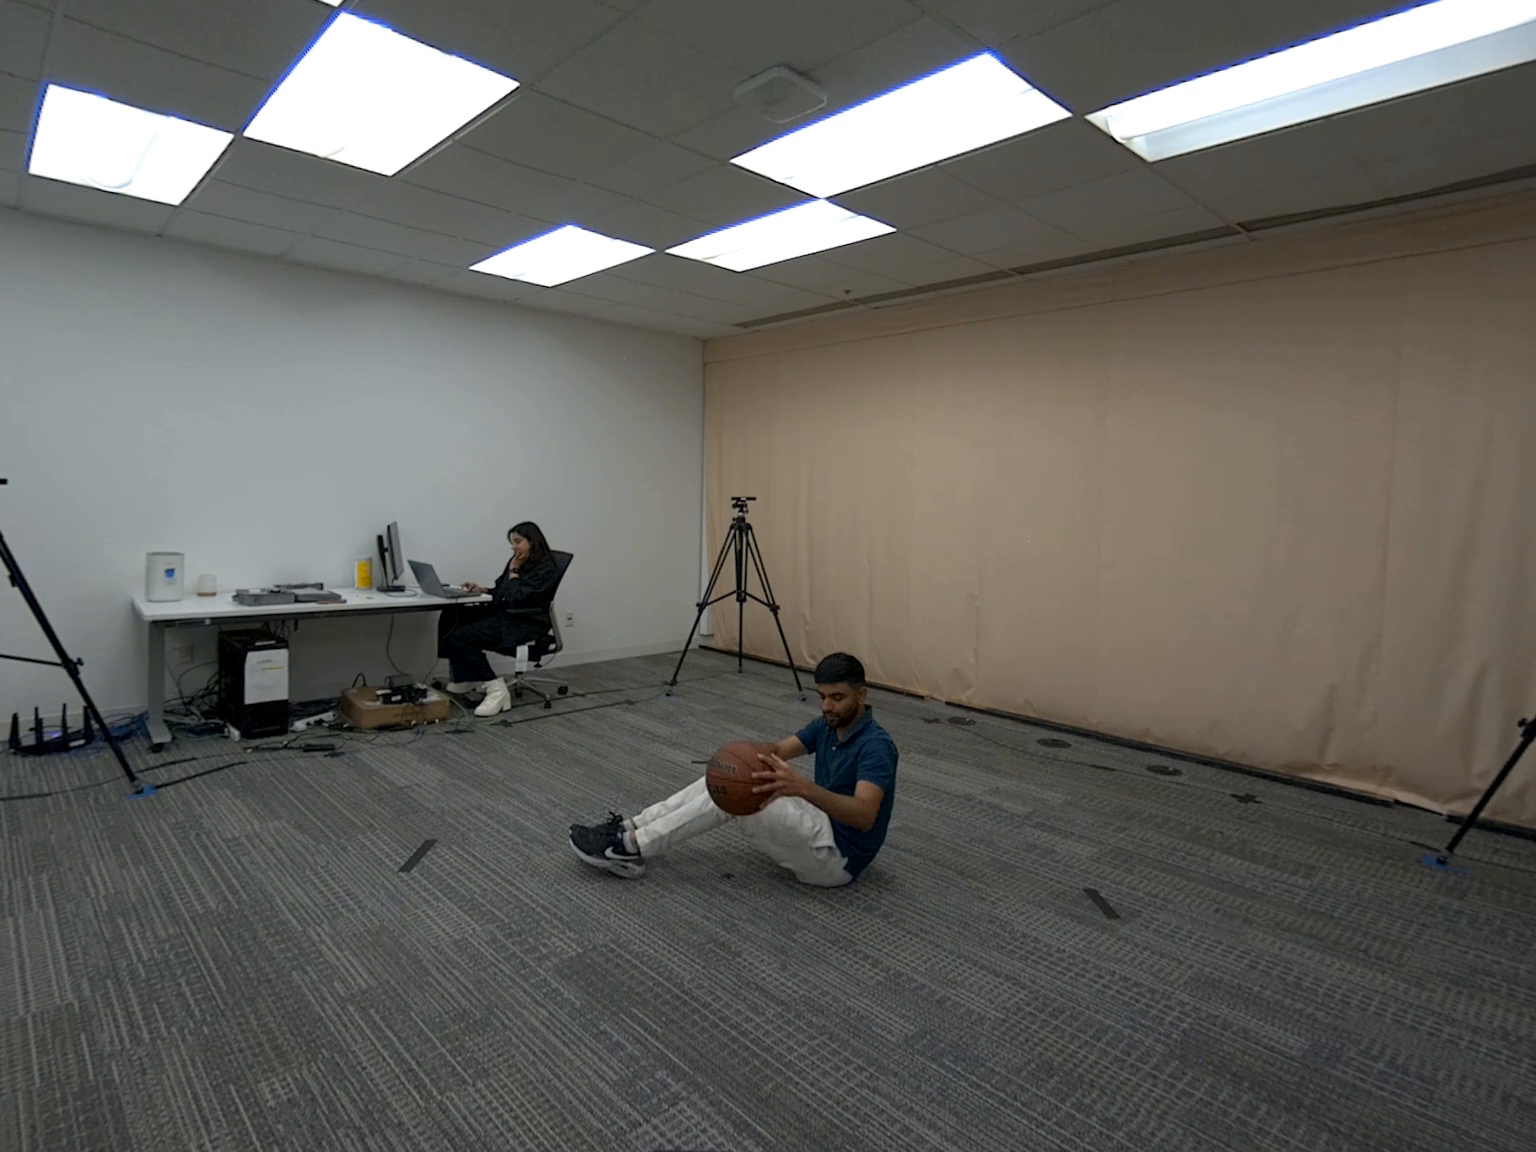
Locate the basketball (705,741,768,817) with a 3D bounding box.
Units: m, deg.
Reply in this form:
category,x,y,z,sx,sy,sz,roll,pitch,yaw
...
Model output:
category,x,y,z,sx,sy,sz,roll,pitch,yaw
basketball,-0.098,0.660,2.759,0.236,0.235,0.237,1,4,-1
